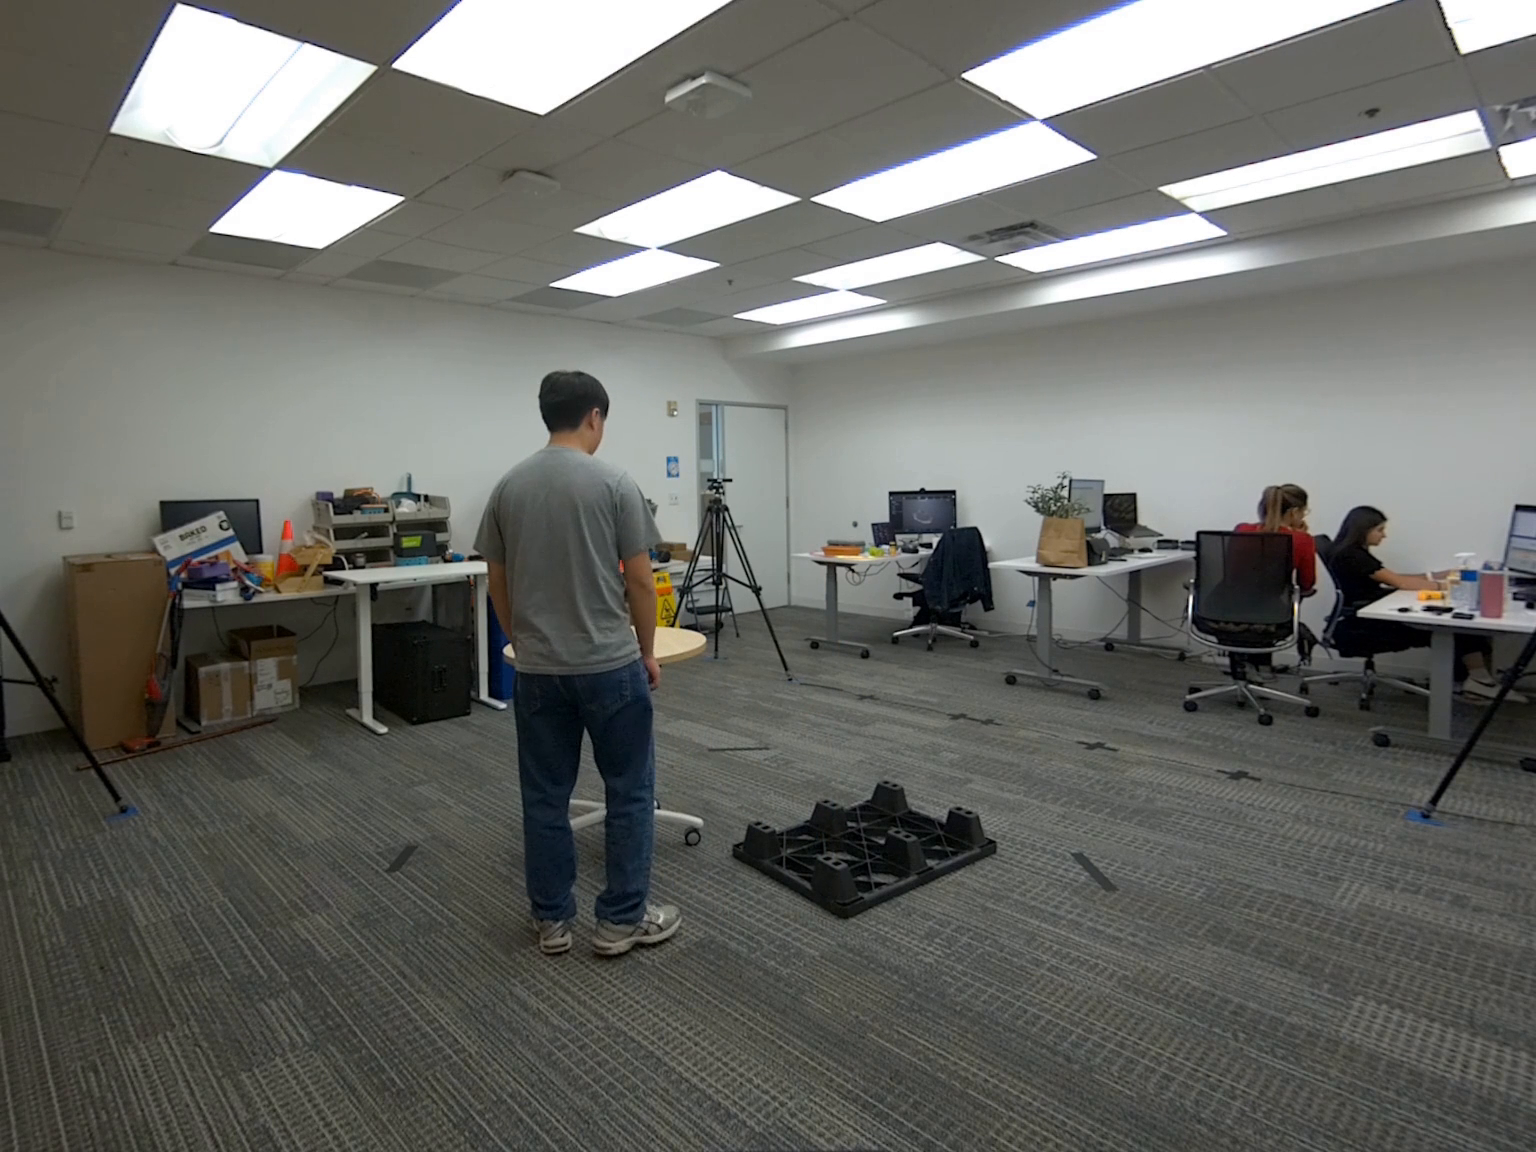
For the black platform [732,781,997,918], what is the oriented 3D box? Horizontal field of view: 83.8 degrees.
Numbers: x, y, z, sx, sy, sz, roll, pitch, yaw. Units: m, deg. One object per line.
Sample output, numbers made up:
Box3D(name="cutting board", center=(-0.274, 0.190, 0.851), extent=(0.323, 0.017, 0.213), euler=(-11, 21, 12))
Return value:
Box3D(name="black platform", center=(0.359, 0.966, 3.170), extent=(0.785, 0.142, 0.624), euler=(-6, 8, -38))
